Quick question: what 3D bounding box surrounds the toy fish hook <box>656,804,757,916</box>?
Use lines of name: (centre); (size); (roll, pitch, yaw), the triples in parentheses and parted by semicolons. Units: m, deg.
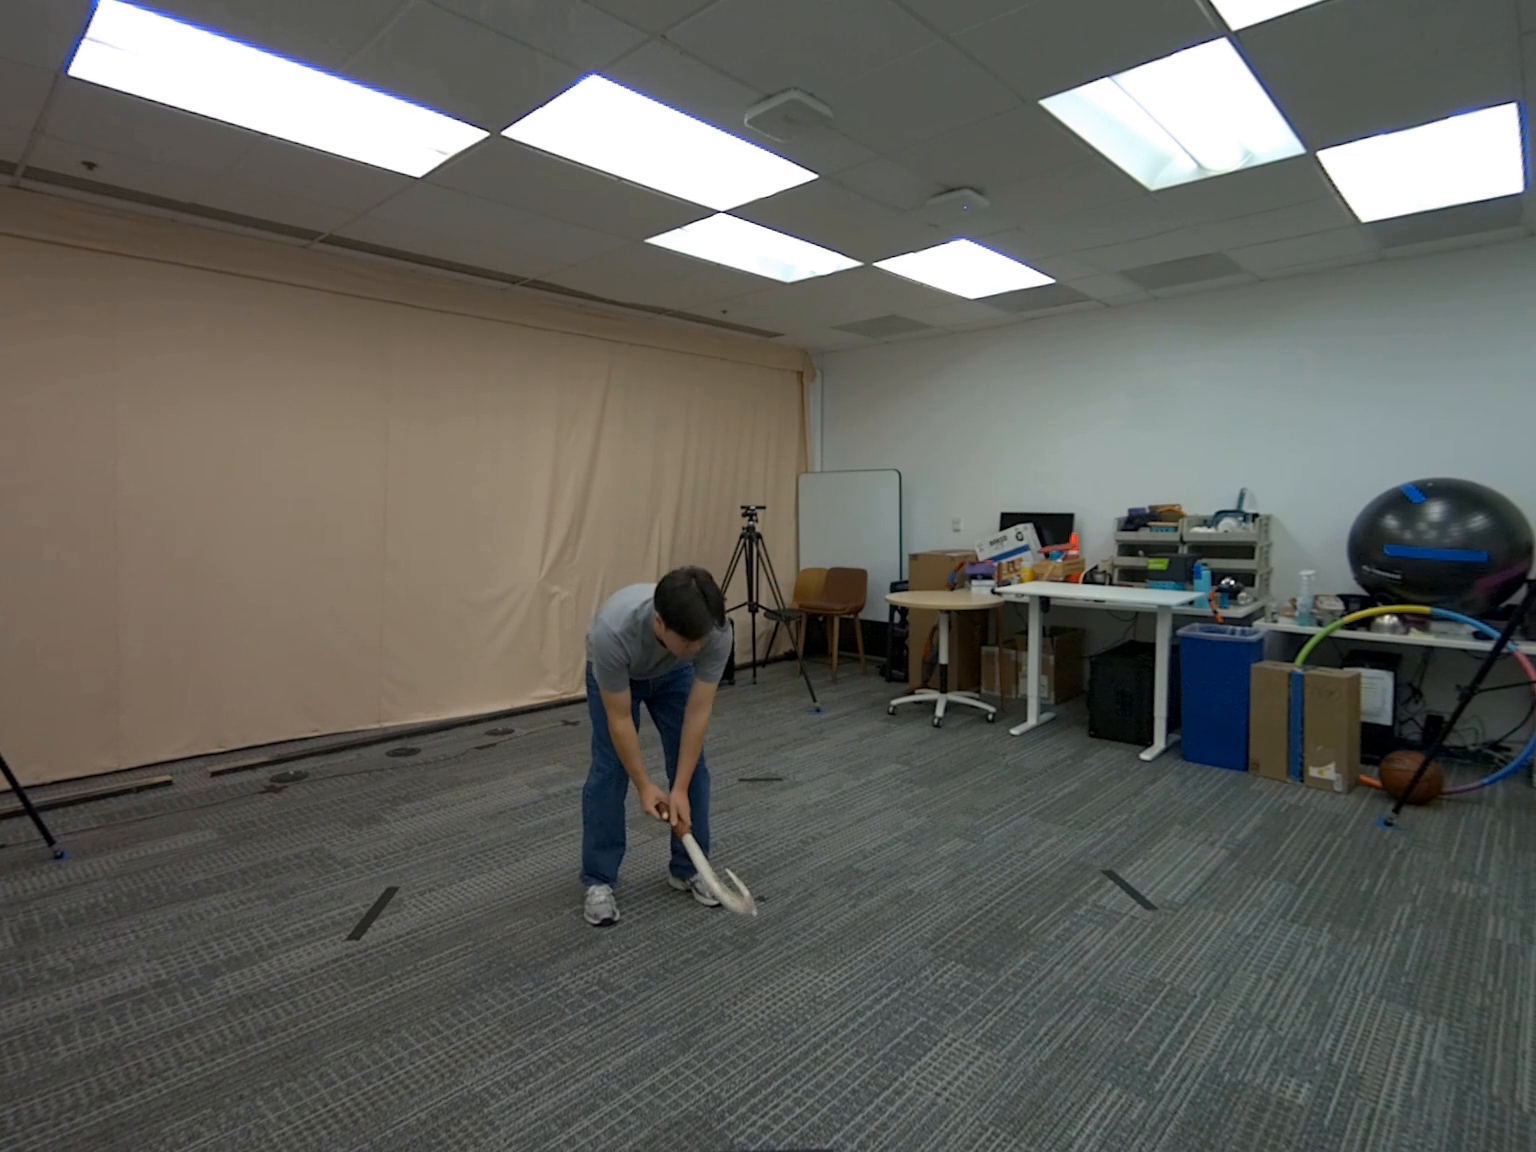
toy fish hook: (-0.209, 0.881, 2.686); (0.525, 0.048, 0.217); (41, -5, 38)
